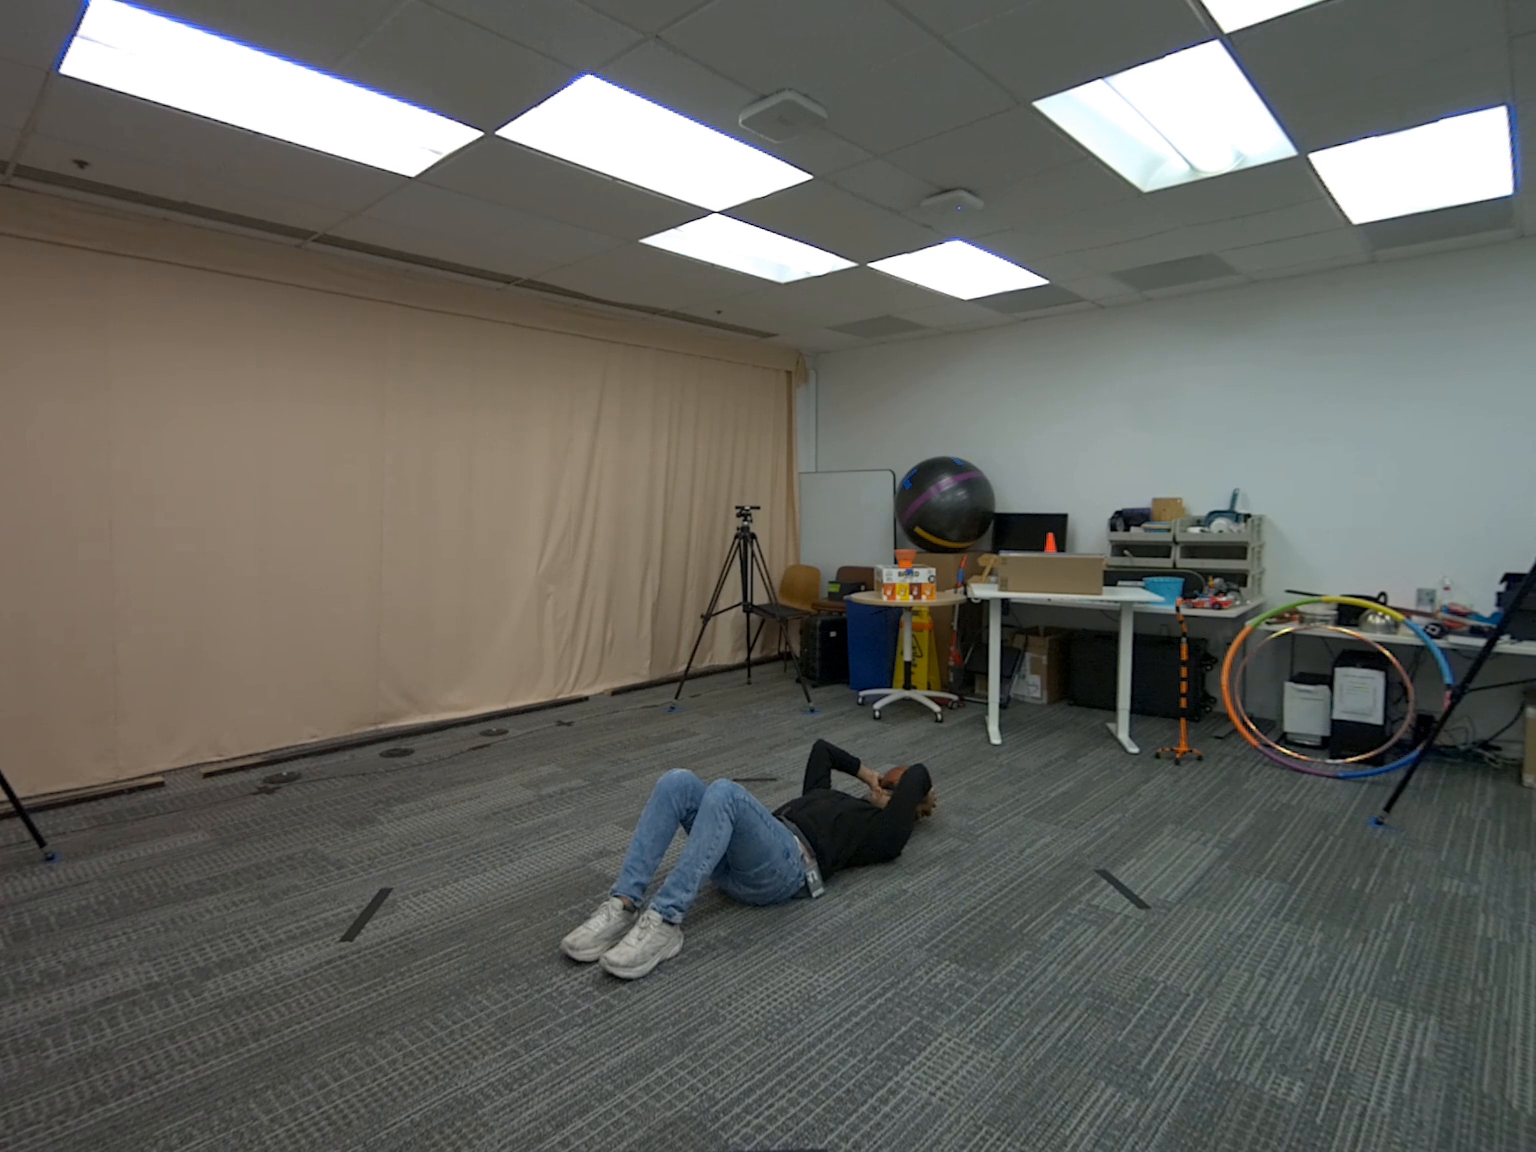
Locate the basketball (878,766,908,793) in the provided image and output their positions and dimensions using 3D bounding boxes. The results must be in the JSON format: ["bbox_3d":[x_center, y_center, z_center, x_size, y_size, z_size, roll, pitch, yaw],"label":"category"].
[{"bbox_3d":[0.615,0.962,3.722,0.236,0.235,0.237,0,4,-2],"label":"basketball"}]
